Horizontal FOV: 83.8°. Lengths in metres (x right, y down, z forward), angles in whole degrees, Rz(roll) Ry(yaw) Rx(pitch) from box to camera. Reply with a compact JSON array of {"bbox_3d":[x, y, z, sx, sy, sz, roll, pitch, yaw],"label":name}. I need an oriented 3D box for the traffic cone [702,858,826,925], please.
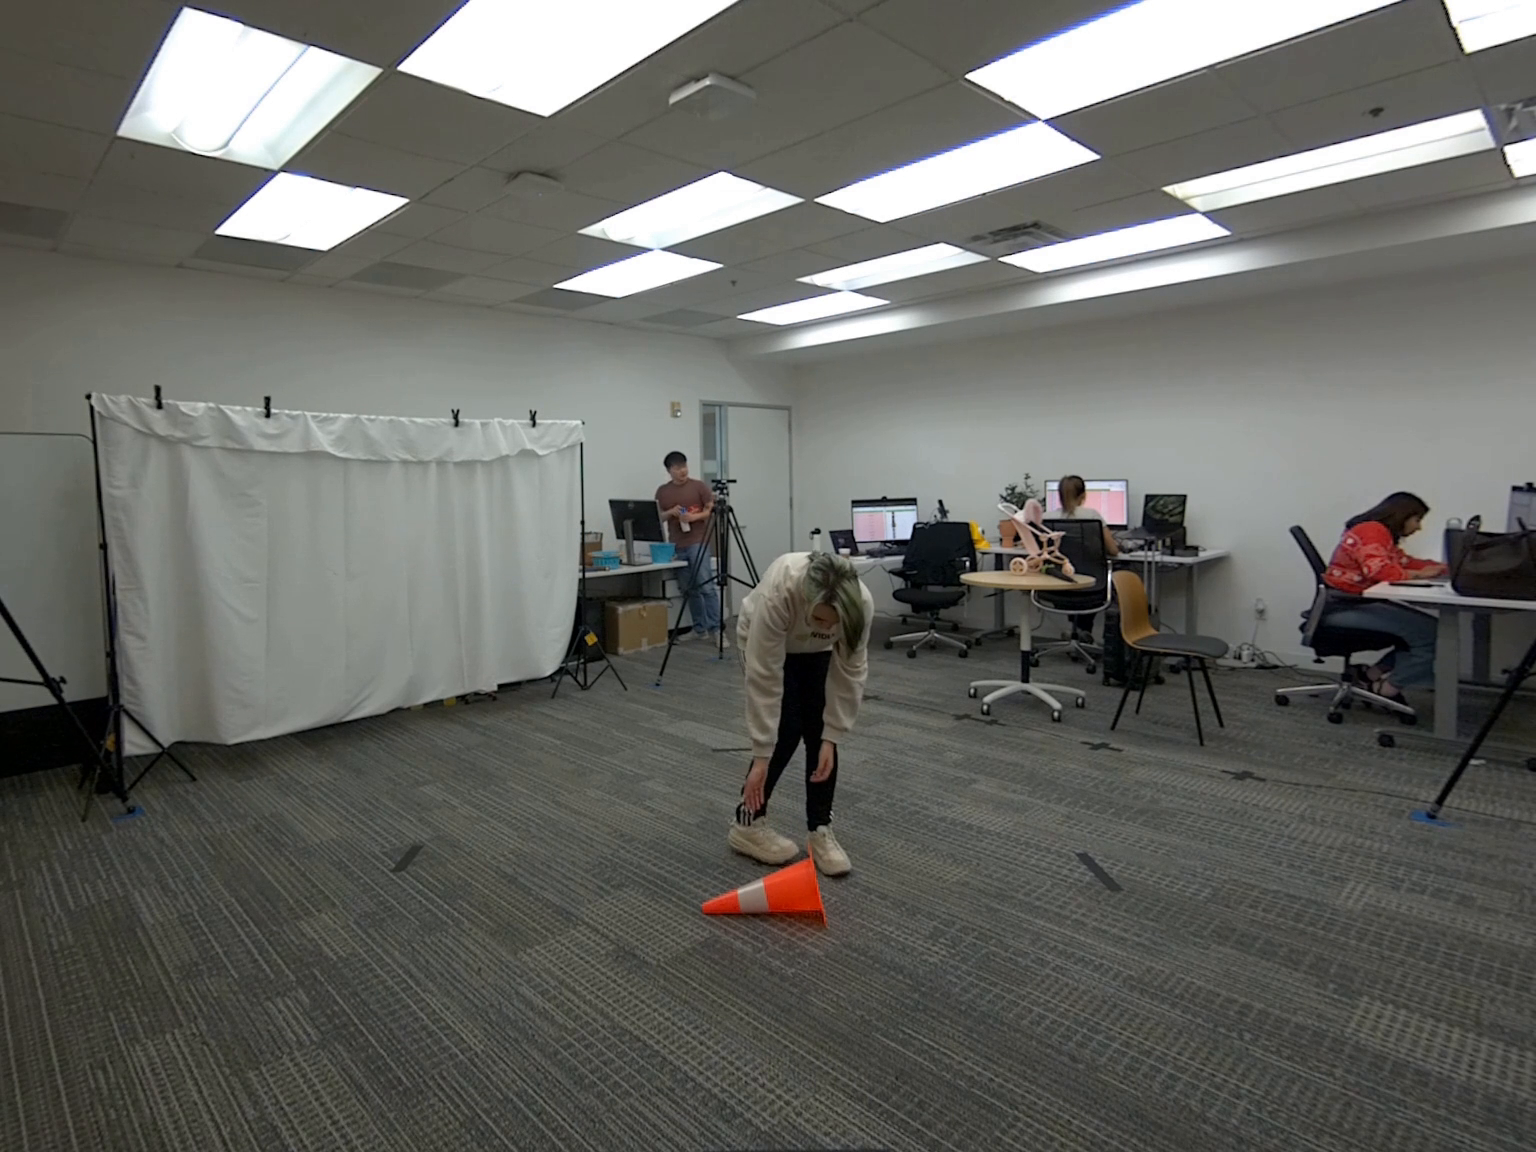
[{"bbox_3d":[-0.021,1.042,2.742,0.385,0.203,0.205,-12,2,3],"label":"traffic cone"}]
